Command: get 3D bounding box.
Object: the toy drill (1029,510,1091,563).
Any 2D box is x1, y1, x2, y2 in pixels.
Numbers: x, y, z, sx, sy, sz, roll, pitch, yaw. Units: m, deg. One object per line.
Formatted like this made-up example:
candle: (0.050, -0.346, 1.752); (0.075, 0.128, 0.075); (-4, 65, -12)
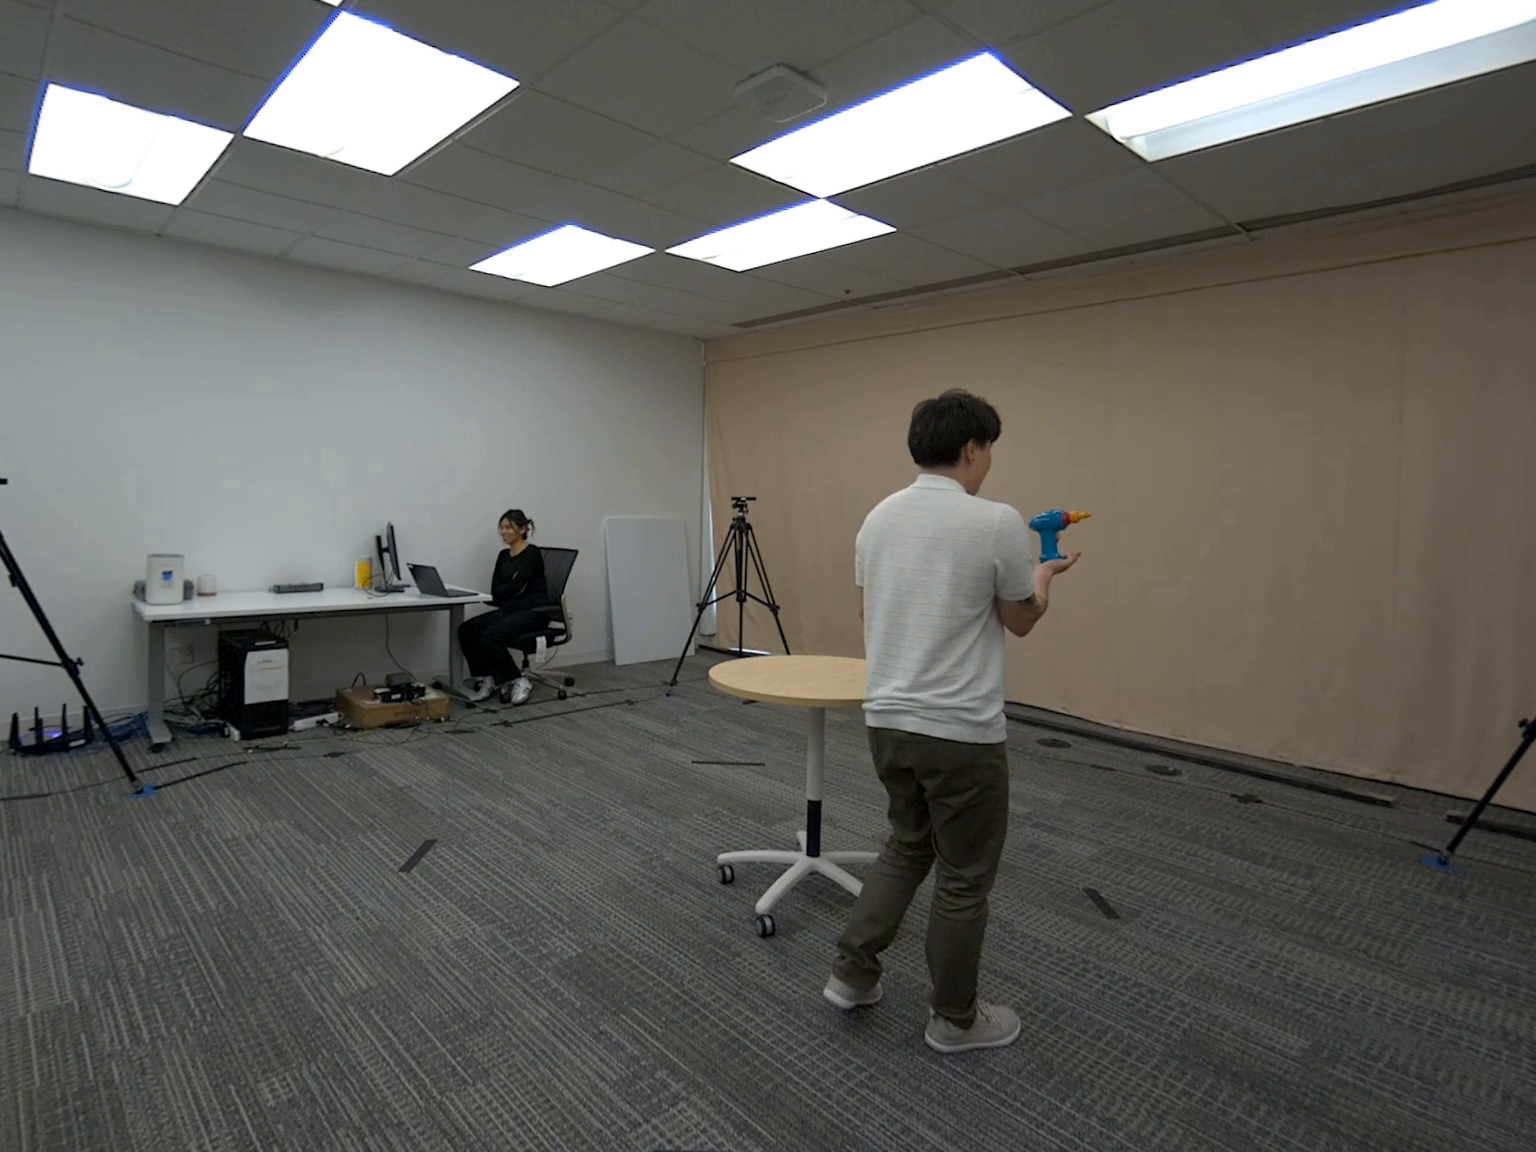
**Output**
toy drill: (0.808, -0.113, 2.318); (0.172, 0.146, 0.060); (-12, -3, 31)
